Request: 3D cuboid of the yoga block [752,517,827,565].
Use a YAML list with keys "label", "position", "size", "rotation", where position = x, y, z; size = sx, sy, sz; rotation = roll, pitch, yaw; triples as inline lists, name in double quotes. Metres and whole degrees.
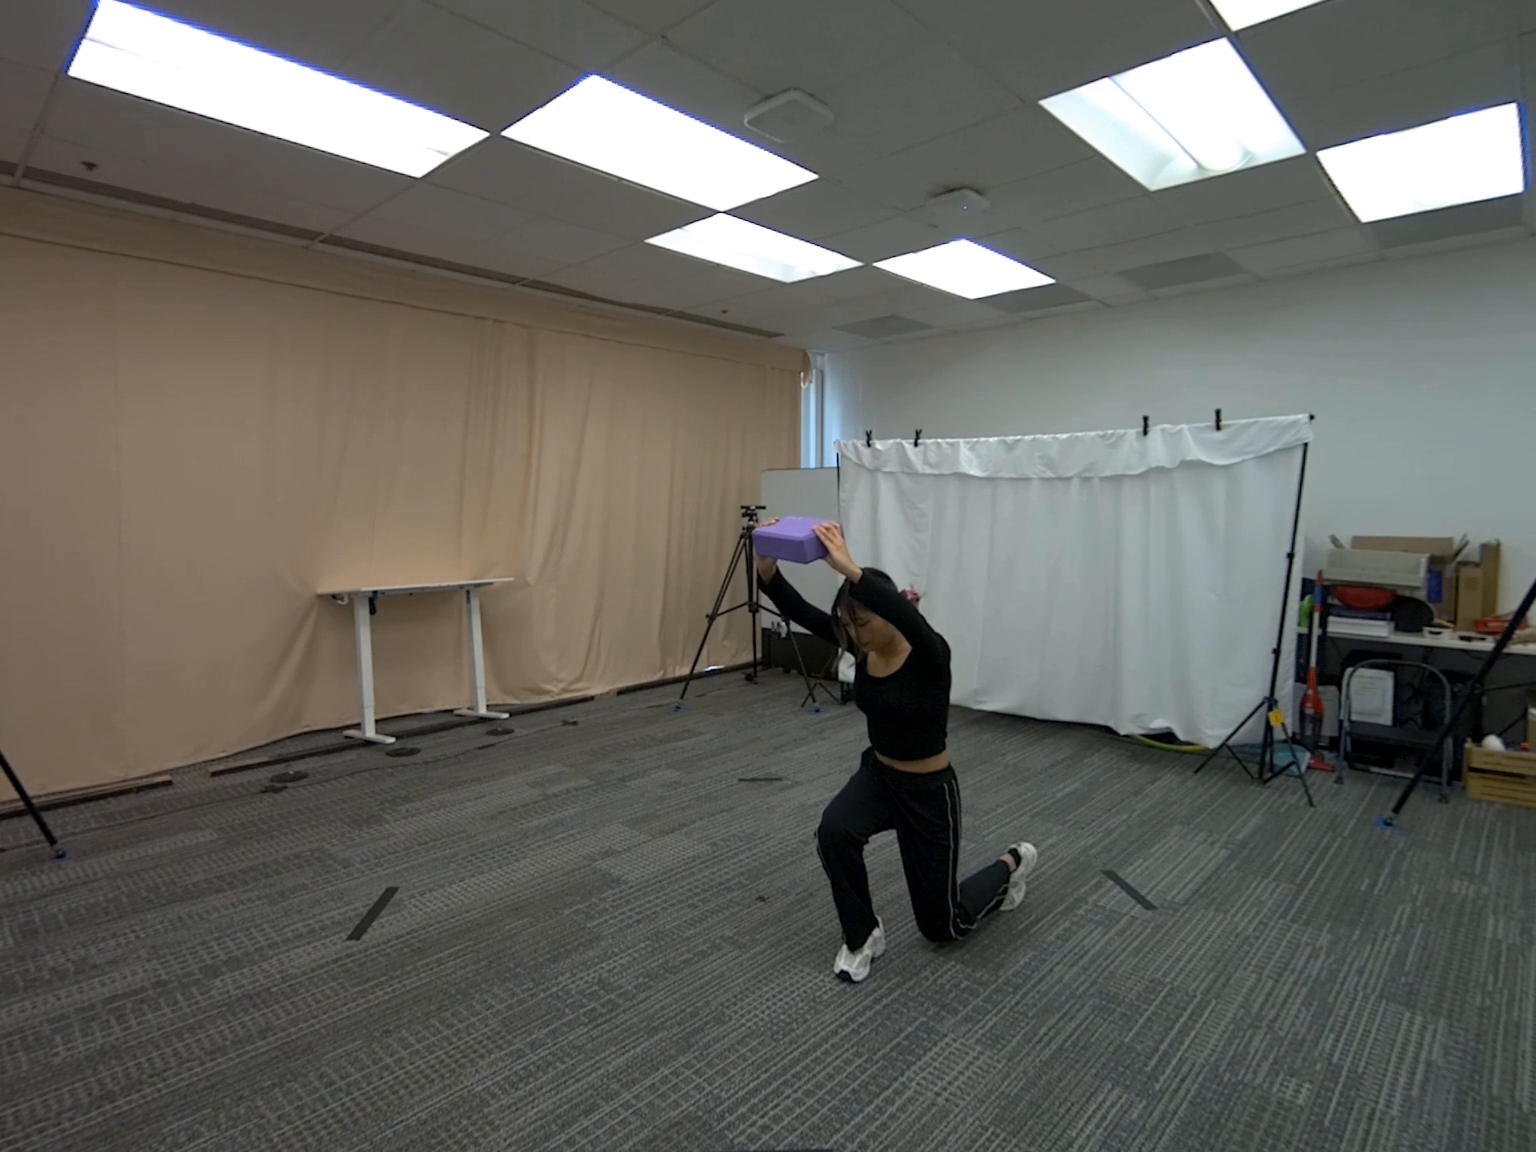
- label: "yoga block"
  position: [0.091, -0.105, 2.282]
  size: [0.146, 0.075, 0.237]
  rotation: [-25, 21, -29]
